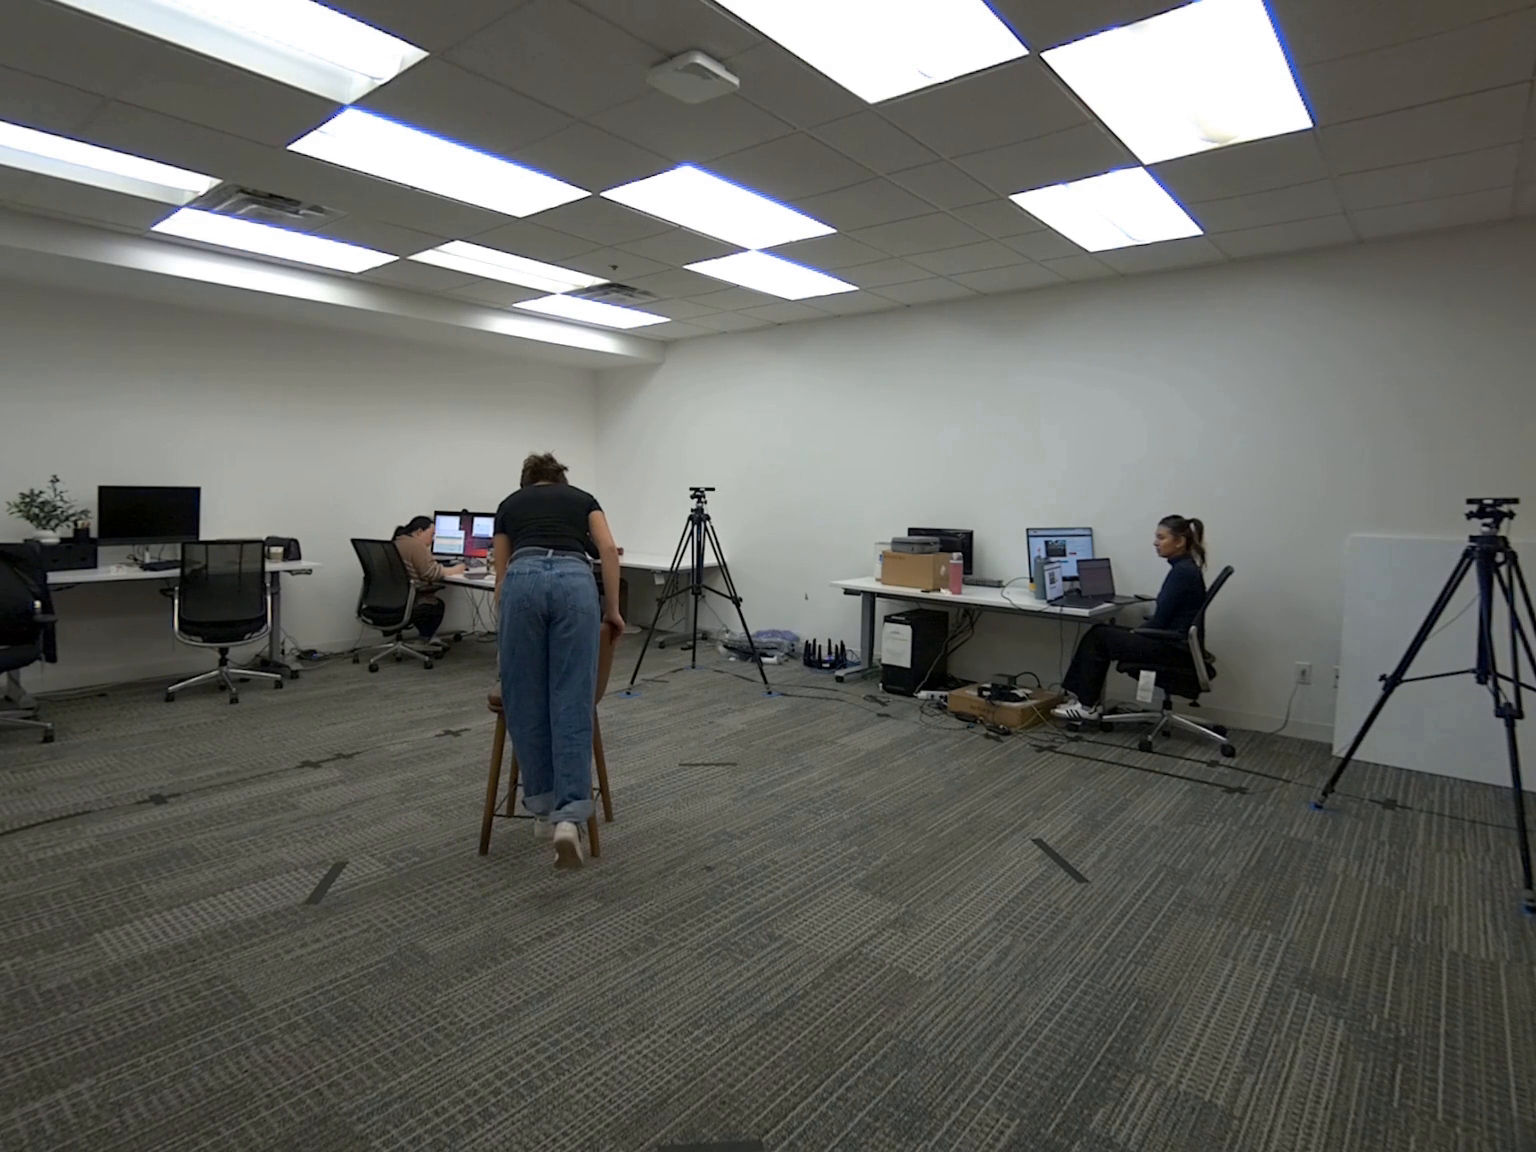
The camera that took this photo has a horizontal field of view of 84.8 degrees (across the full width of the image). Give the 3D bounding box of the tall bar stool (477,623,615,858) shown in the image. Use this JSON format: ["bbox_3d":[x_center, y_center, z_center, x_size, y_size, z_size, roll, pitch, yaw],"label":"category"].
[{"bbox_3d":[-0.864,0.593,3.361,0.468,0.888,0.457,3,3,0],"label":"tall bar stool"}]
